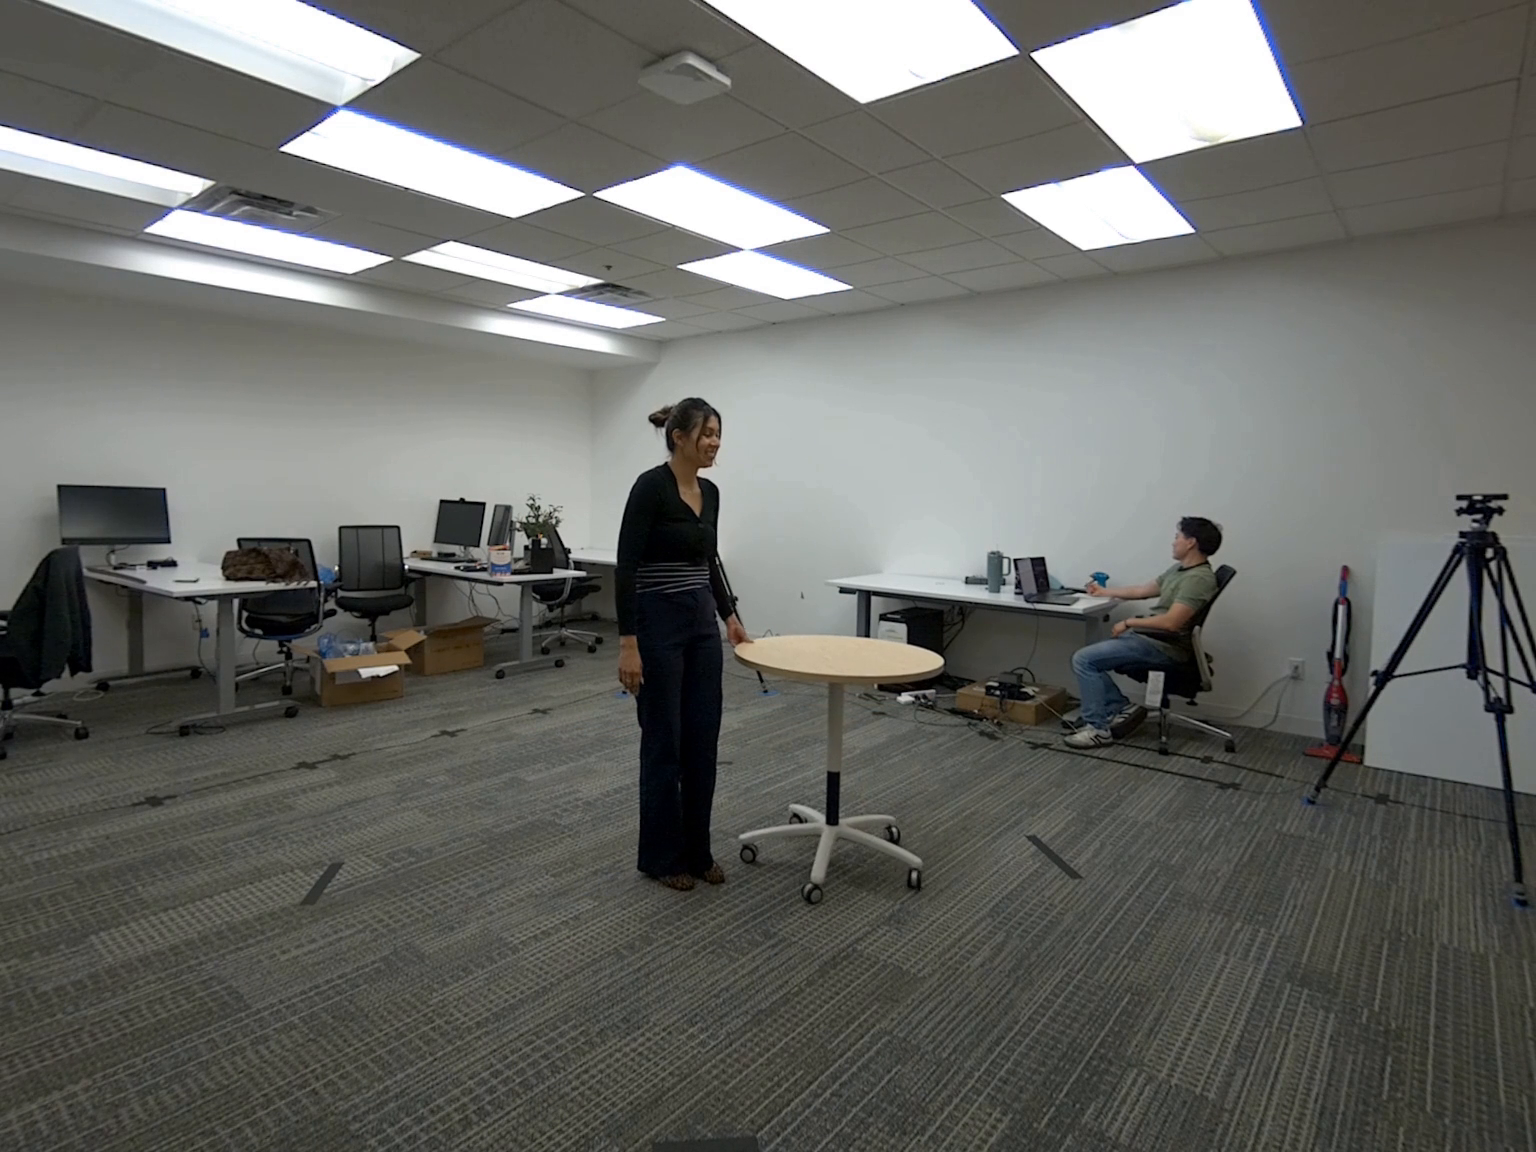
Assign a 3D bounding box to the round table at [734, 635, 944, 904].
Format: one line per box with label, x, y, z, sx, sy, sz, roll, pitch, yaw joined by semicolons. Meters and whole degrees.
round table;0.231;0.679;3.170;0.763;0.791;0.768;1;4;-2
